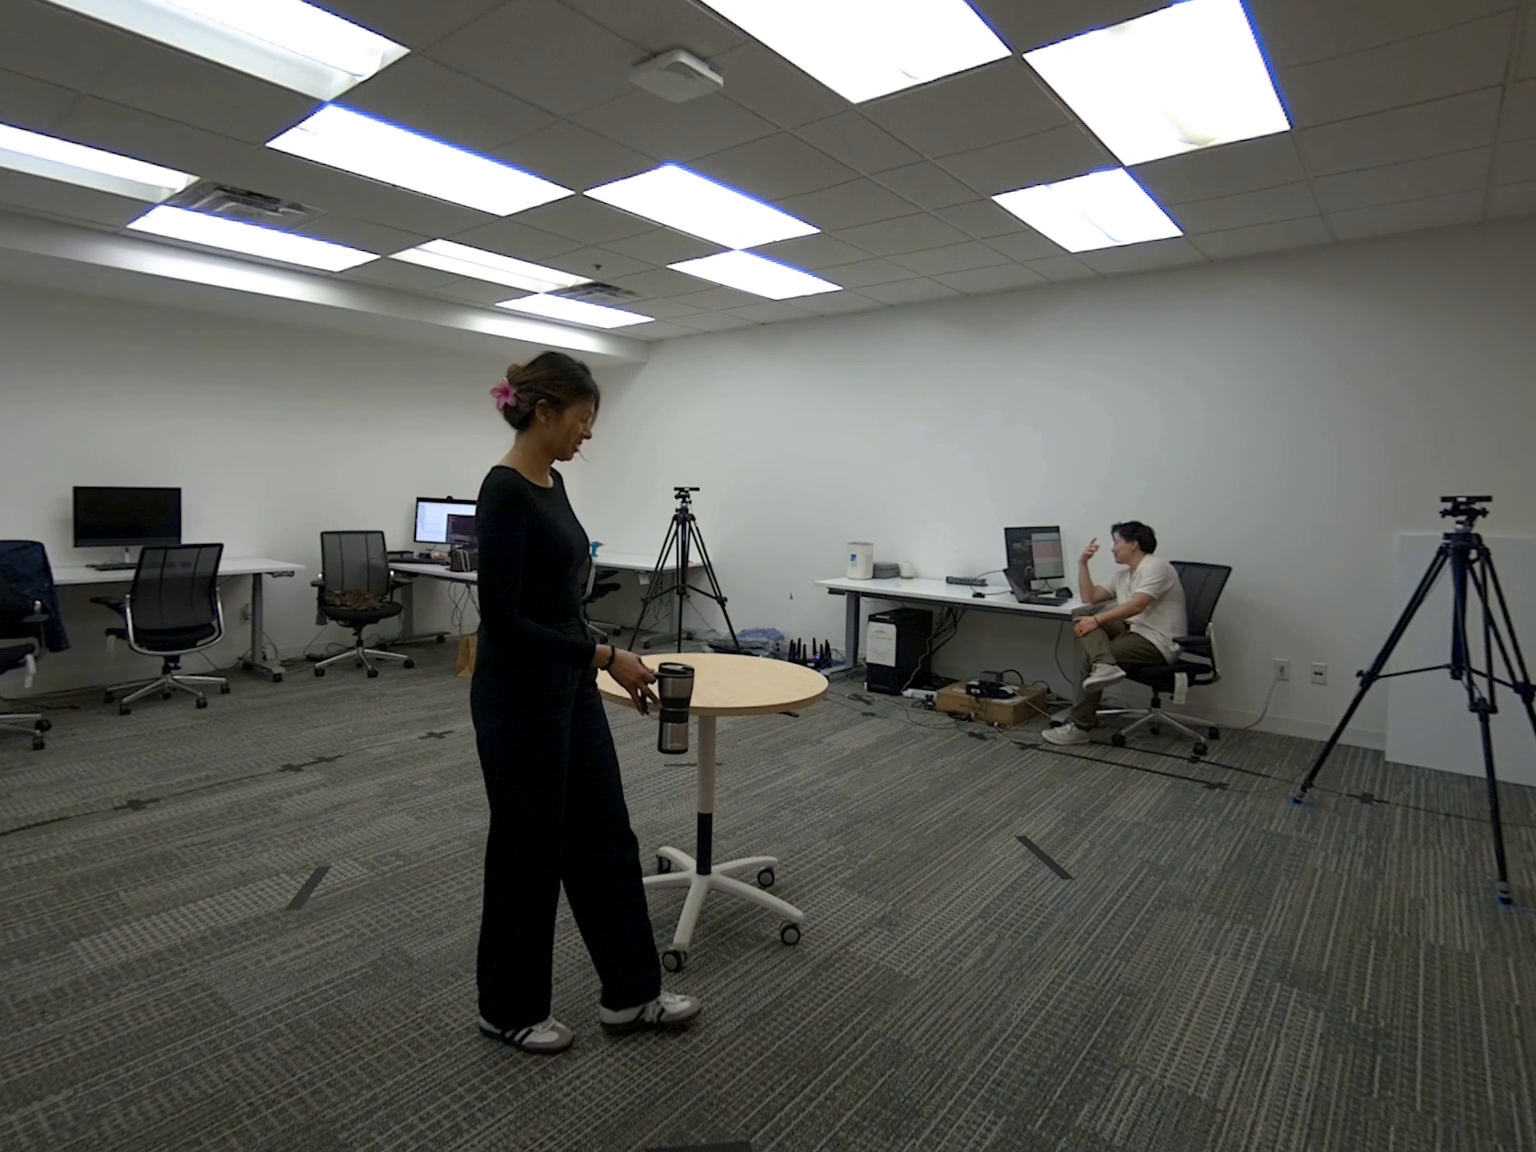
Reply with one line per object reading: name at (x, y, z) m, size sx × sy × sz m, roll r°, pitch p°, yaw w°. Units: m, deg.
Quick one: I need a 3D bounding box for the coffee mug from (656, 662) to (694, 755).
coffee mug at (-0.236, 0.321, 2.014) m, size 0.088 × 0.202 × 0.122 m, roll -2°, pitch 5°, yaw -1°
